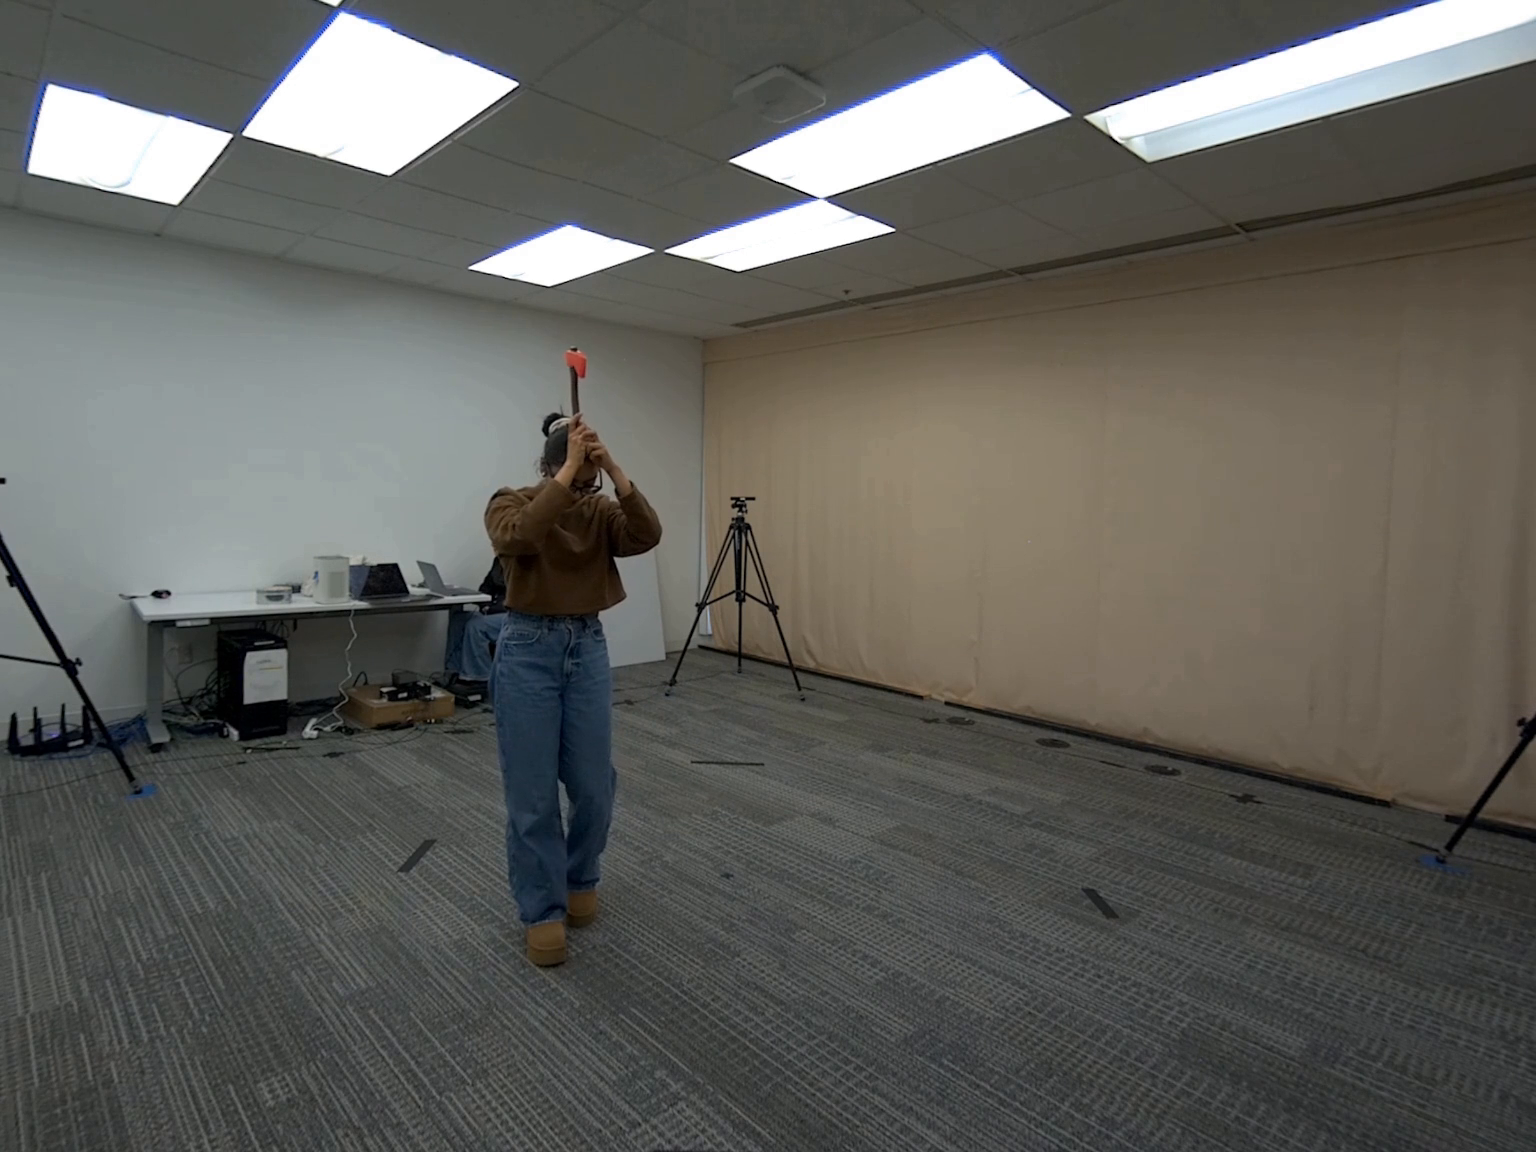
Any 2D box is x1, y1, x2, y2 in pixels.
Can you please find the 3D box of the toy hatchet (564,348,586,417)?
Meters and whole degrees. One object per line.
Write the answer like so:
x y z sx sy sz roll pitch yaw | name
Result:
-0.530 -0.509 2.345 0.029 0.270 0.133 -9 1 -35 | toy hatchet
